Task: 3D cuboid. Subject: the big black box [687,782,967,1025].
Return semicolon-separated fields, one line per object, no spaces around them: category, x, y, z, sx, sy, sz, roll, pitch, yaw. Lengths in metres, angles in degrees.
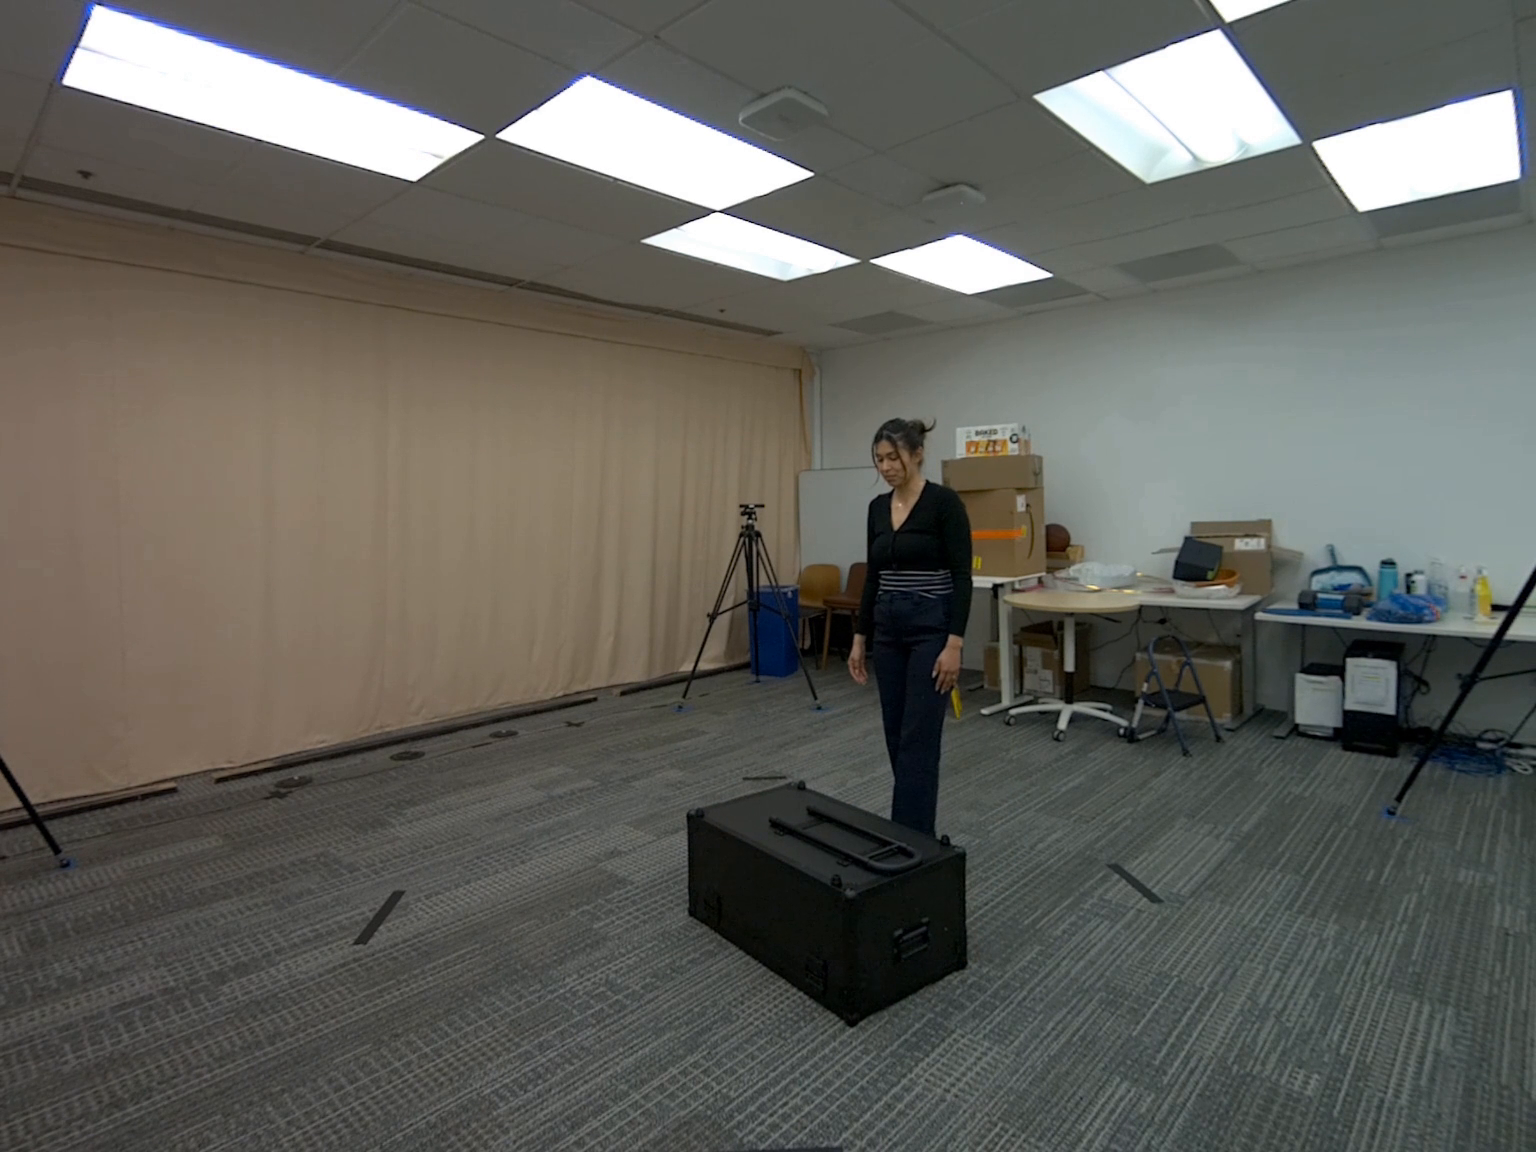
big black box;0.178;0.991;2.652;0.506;0.395;0.889;-4;6;-37
